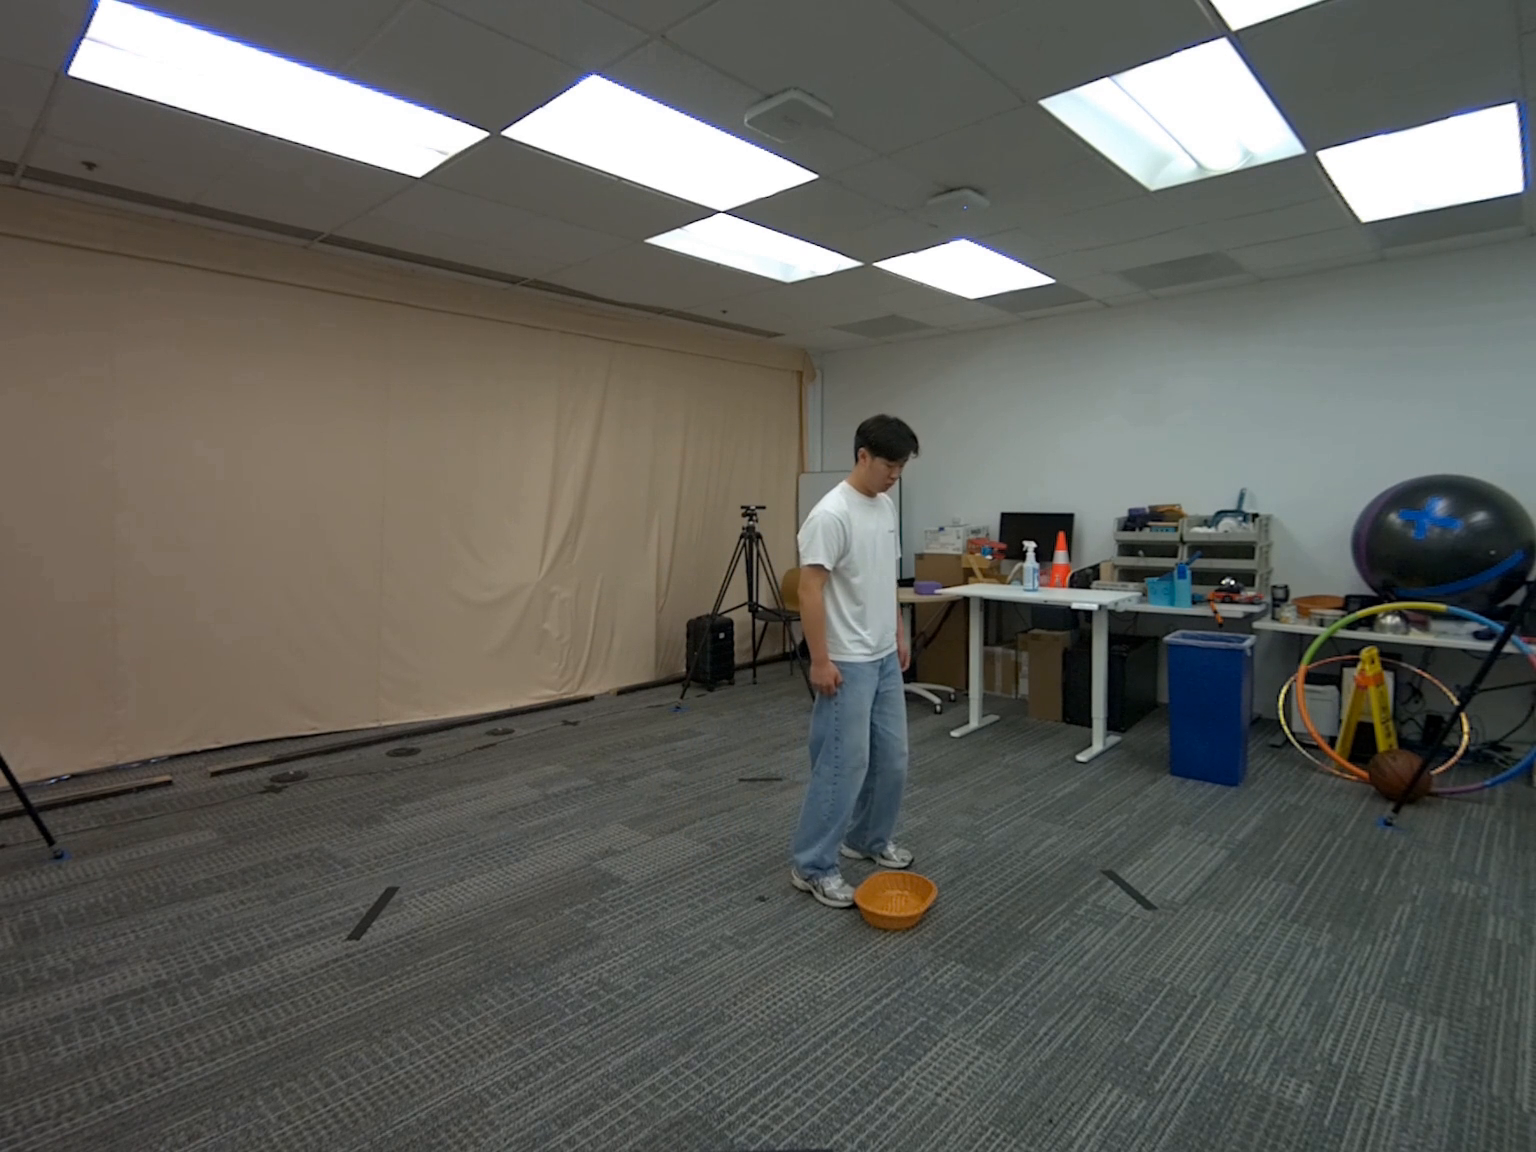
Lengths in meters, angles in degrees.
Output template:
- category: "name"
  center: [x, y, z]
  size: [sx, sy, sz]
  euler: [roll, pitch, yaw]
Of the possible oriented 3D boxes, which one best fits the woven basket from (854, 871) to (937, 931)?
- category: "woven basket"
  center: [0.439, 1.107, 2.887]
  size: [0.259, 0.073, 0.342]
  euler: [2, 5, 28]
